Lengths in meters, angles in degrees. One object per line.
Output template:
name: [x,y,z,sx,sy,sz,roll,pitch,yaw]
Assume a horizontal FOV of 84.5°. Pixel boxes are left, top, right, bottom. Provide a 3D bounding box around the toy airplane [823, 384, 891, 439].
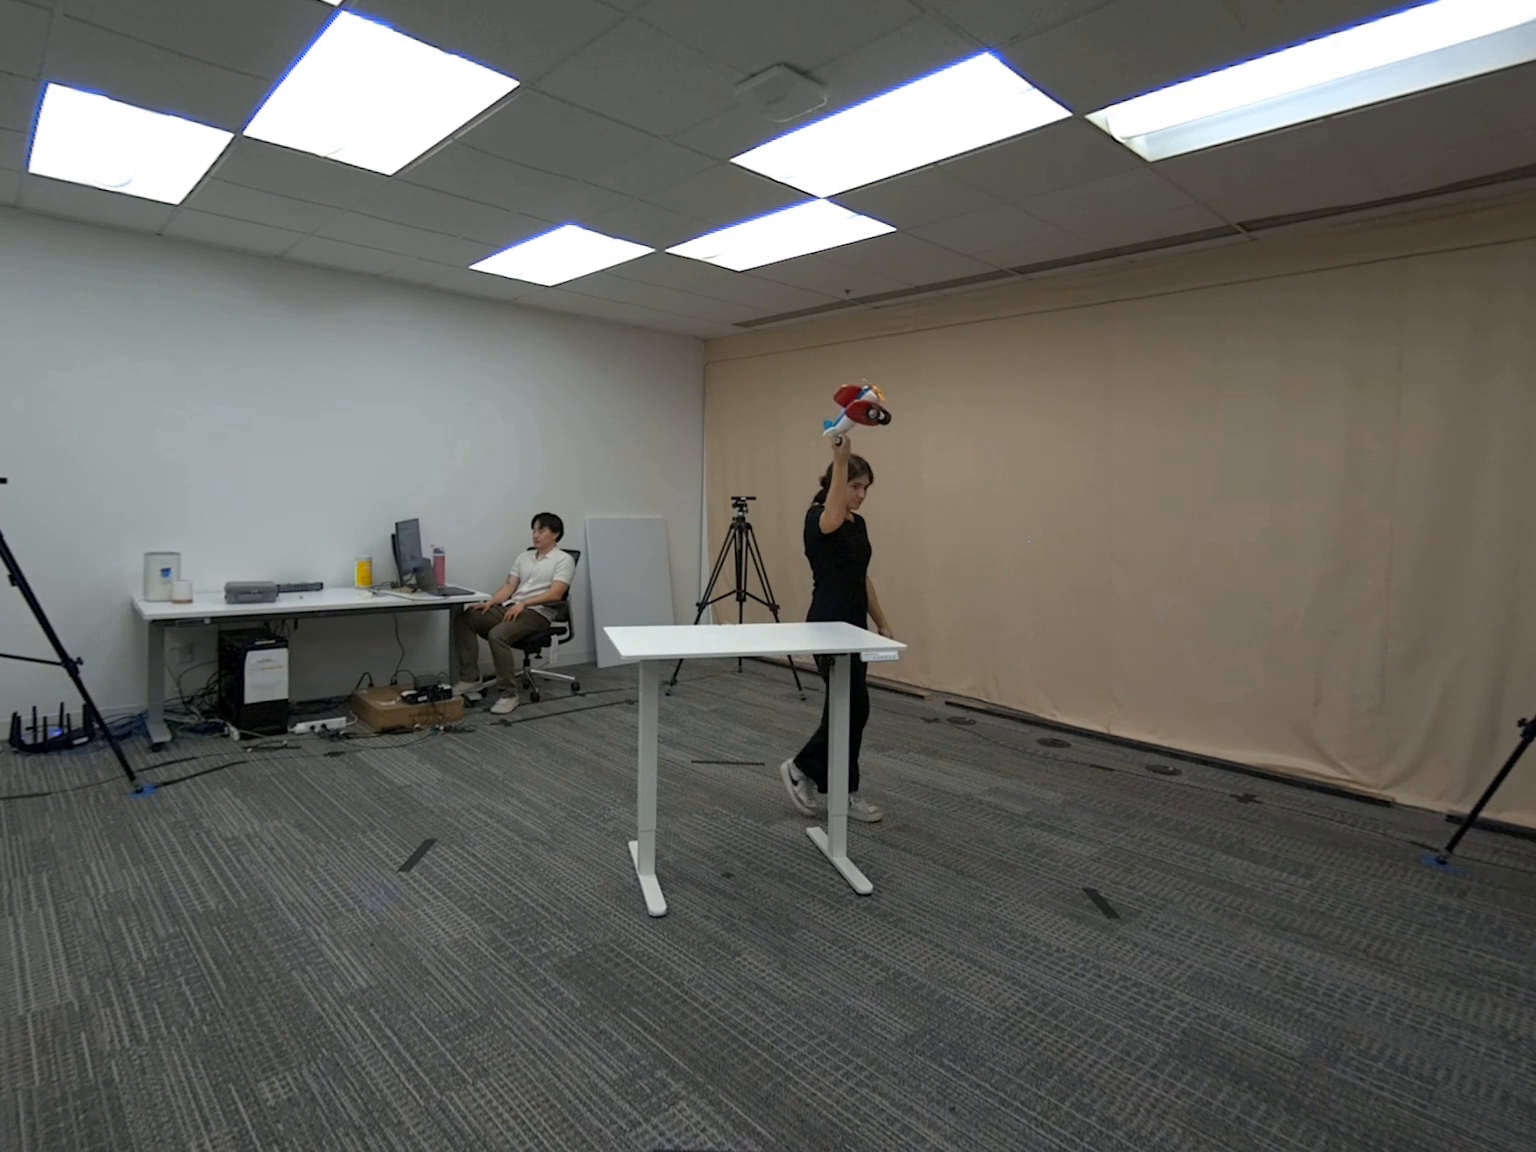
toy airplane: [0.311,-0.593,3.119,0.260,0.159,0.246,-20,-17,5]
